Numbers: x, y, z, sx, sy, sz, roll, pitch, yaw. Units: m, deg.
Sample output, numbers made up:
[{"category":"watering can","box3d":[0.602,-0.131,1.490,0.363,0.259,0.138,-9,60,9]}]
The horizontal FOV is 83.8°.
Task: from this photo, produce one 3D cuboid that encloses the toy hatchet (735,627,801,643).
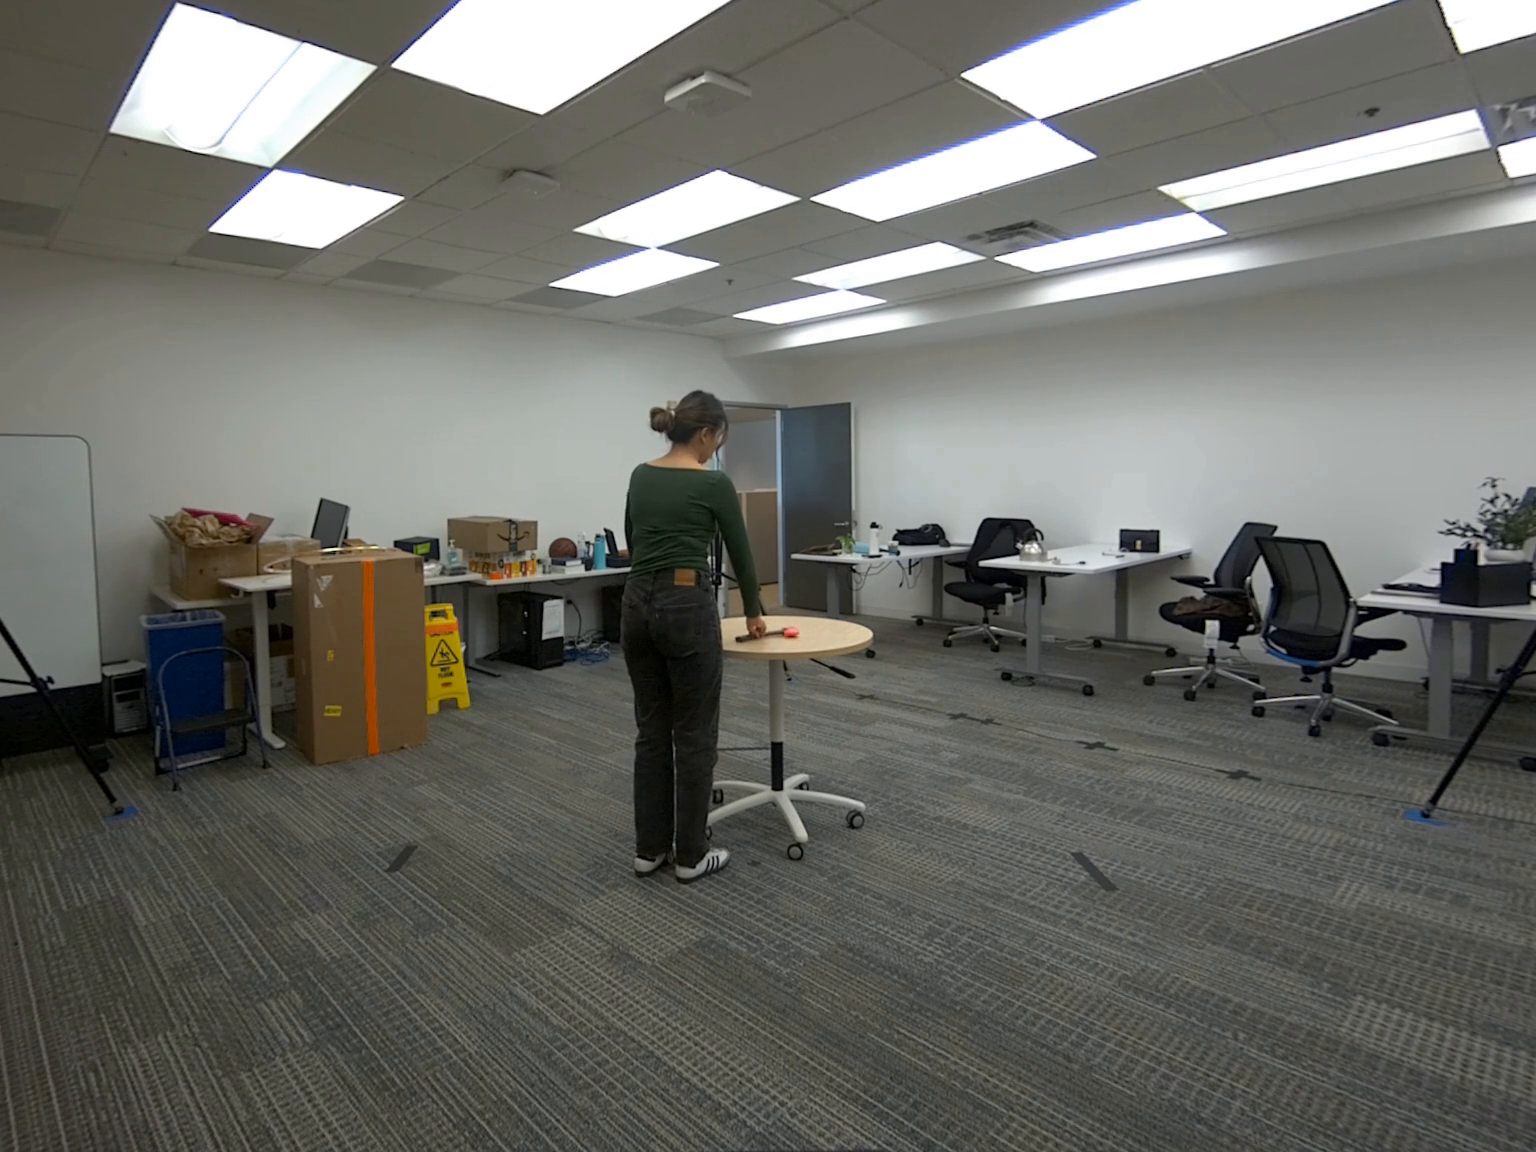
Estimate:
[{"category":"toy hatchet","box3d":[0.013,0.229,3.276,0.263,0.029,0.135,-8,8,-41]}]
